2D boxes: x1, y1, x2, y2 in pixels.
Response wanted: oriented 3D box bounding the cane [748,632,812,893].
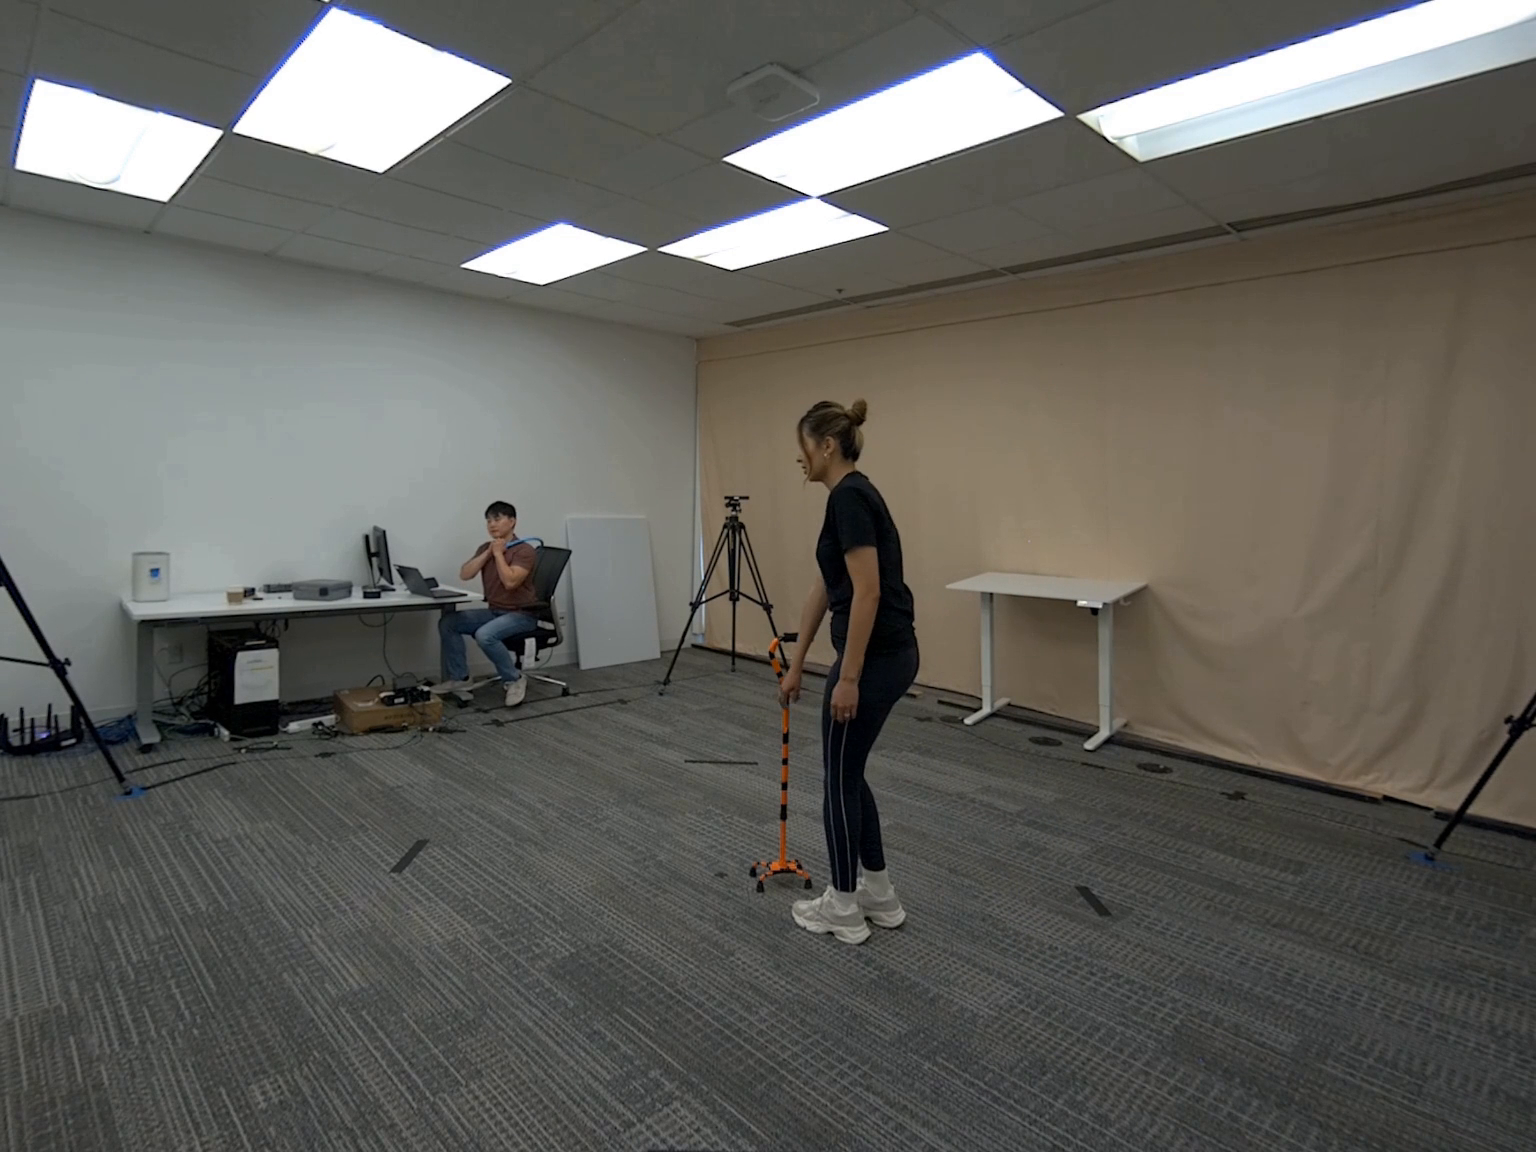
[{"bbox_3d":[0.050,0.661,3.030,0.204,0.905,0.153,1,4,-12],"label":"cane"}]
